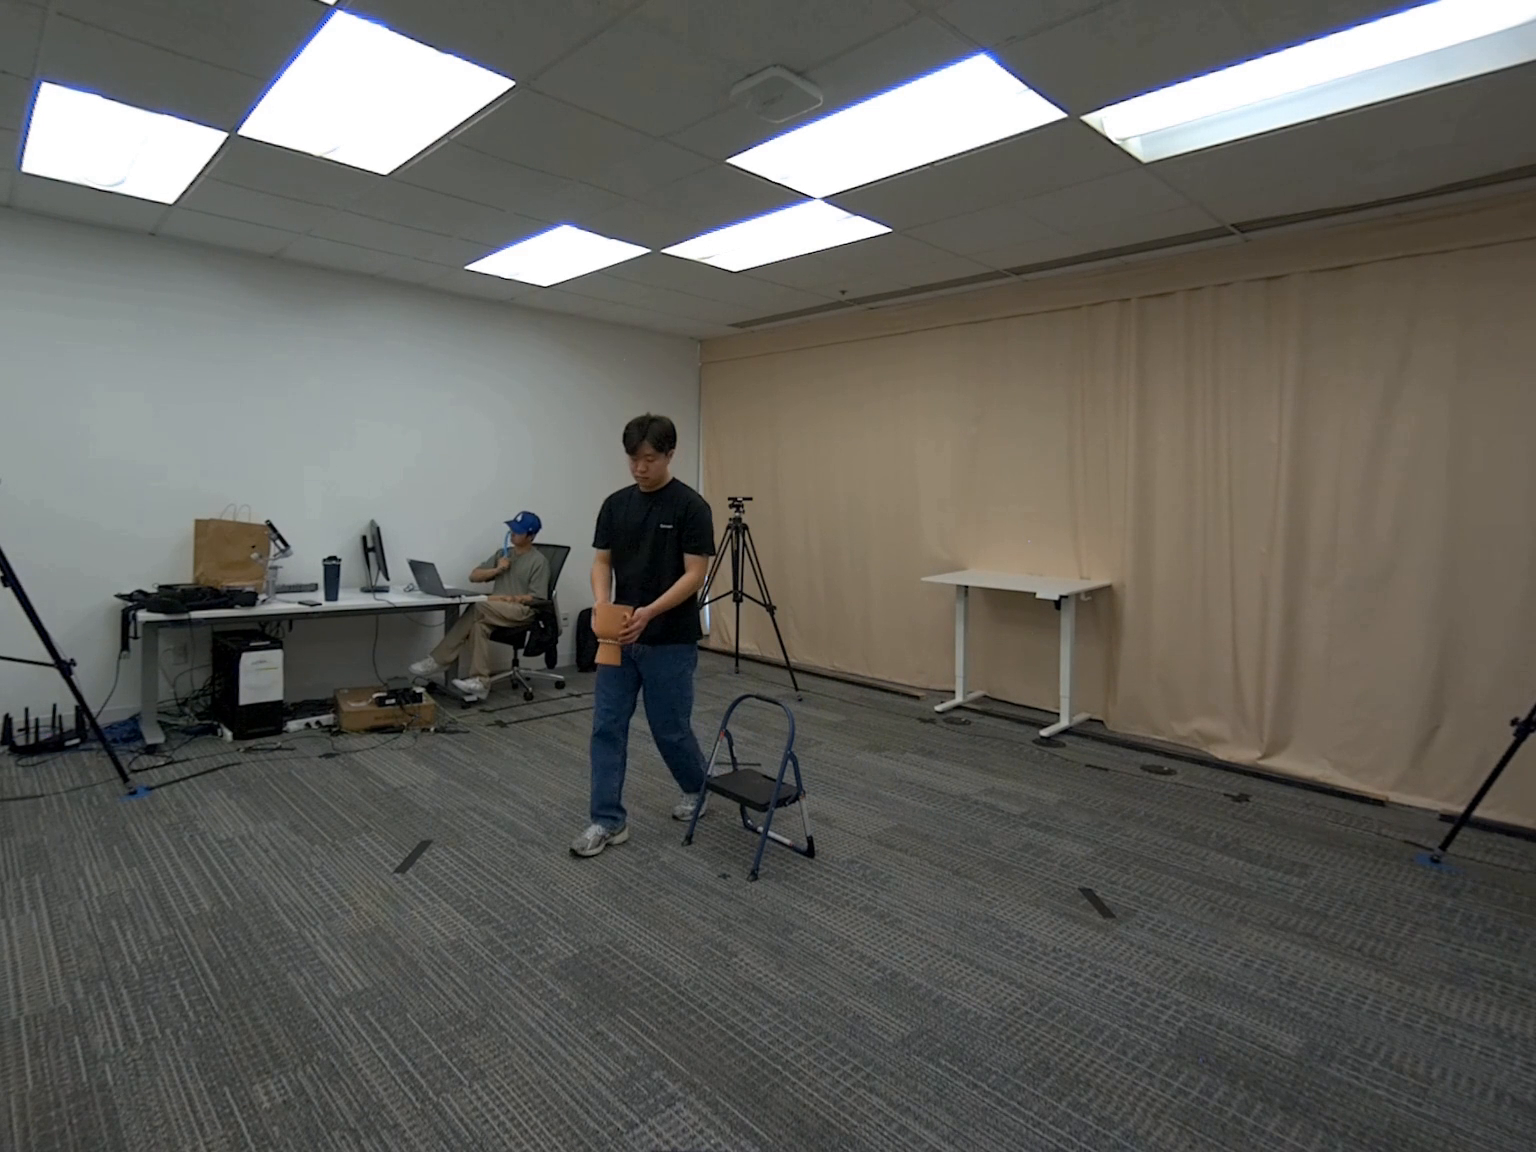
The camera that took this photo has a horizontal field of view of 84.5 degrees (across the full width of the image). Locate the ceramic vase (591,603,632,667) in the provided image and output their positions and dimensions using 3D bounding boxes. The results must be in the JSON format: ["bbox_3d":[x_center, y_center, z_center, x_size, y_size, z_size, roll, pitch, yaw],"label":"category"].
[{"bbox_3d":[-0.586,0.220,3.141,0.135,0.220,0.158,8,-5,0],"label":"ceramic vase"}]
